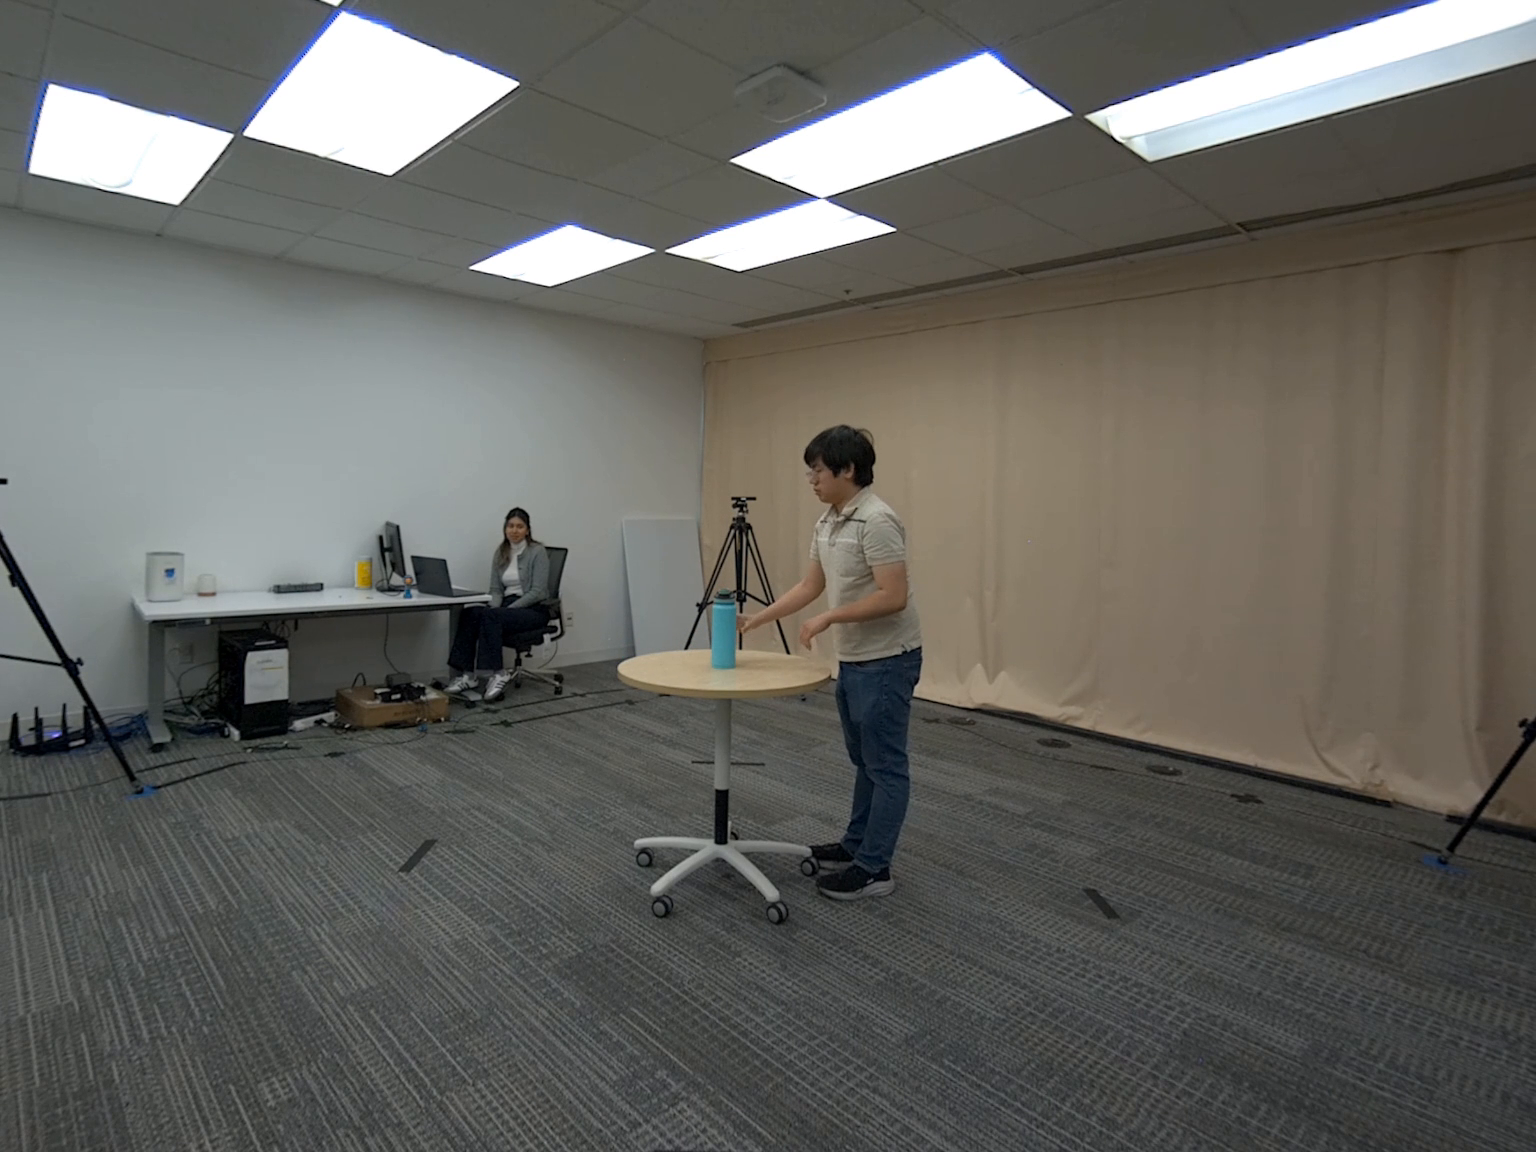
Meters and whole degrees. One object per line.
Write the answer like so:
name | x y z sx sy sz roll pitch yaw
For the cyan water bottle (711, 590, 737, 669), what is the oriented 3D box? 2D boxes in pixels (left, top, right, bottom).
cyan water bottle | -0.159 0.190 3.038 0.092 0.283 0.092 2 3 -2
